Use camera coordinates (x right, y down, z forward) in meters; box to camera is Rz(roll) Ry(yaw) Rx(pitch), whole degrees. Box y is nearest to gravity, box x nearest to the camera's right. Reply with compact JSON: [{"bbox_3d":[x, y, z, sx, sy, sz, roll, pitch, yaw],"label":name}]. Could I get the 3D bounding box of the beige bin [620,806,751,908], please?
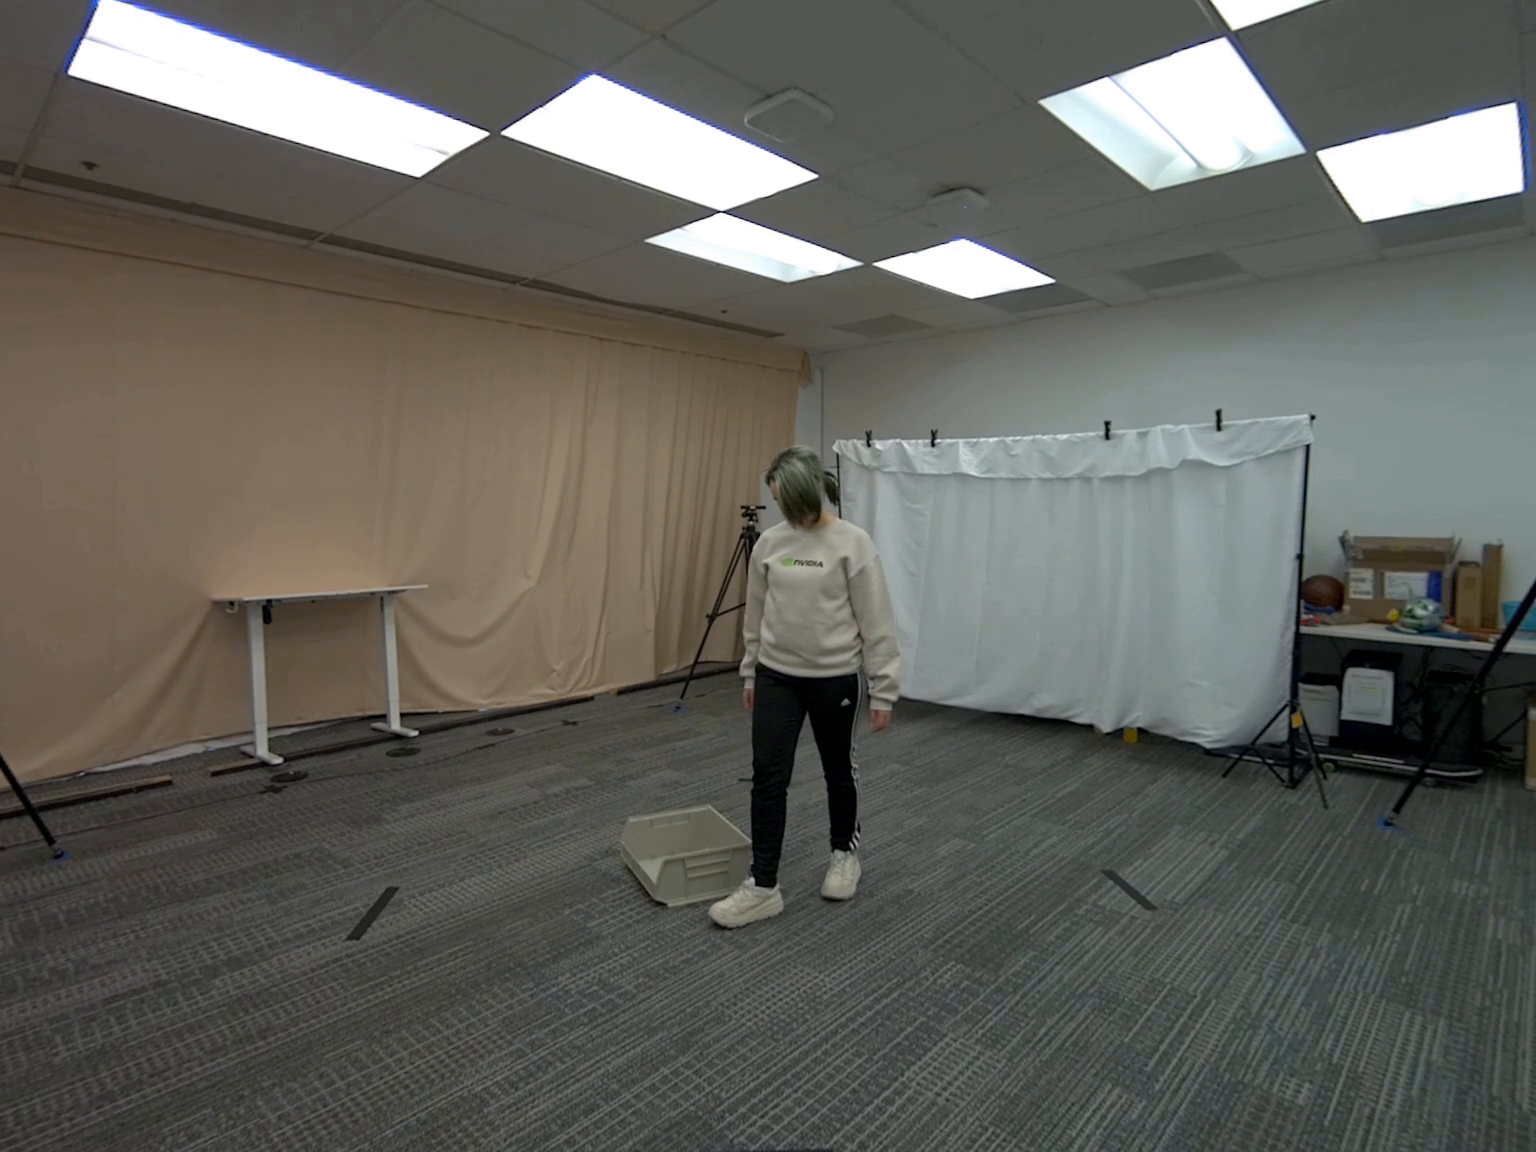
[{"bbox_3d":[-0.320,1.045,3.162,0.368,0.188,0.433,-2,4,-25],"label":"beige bin"}]
